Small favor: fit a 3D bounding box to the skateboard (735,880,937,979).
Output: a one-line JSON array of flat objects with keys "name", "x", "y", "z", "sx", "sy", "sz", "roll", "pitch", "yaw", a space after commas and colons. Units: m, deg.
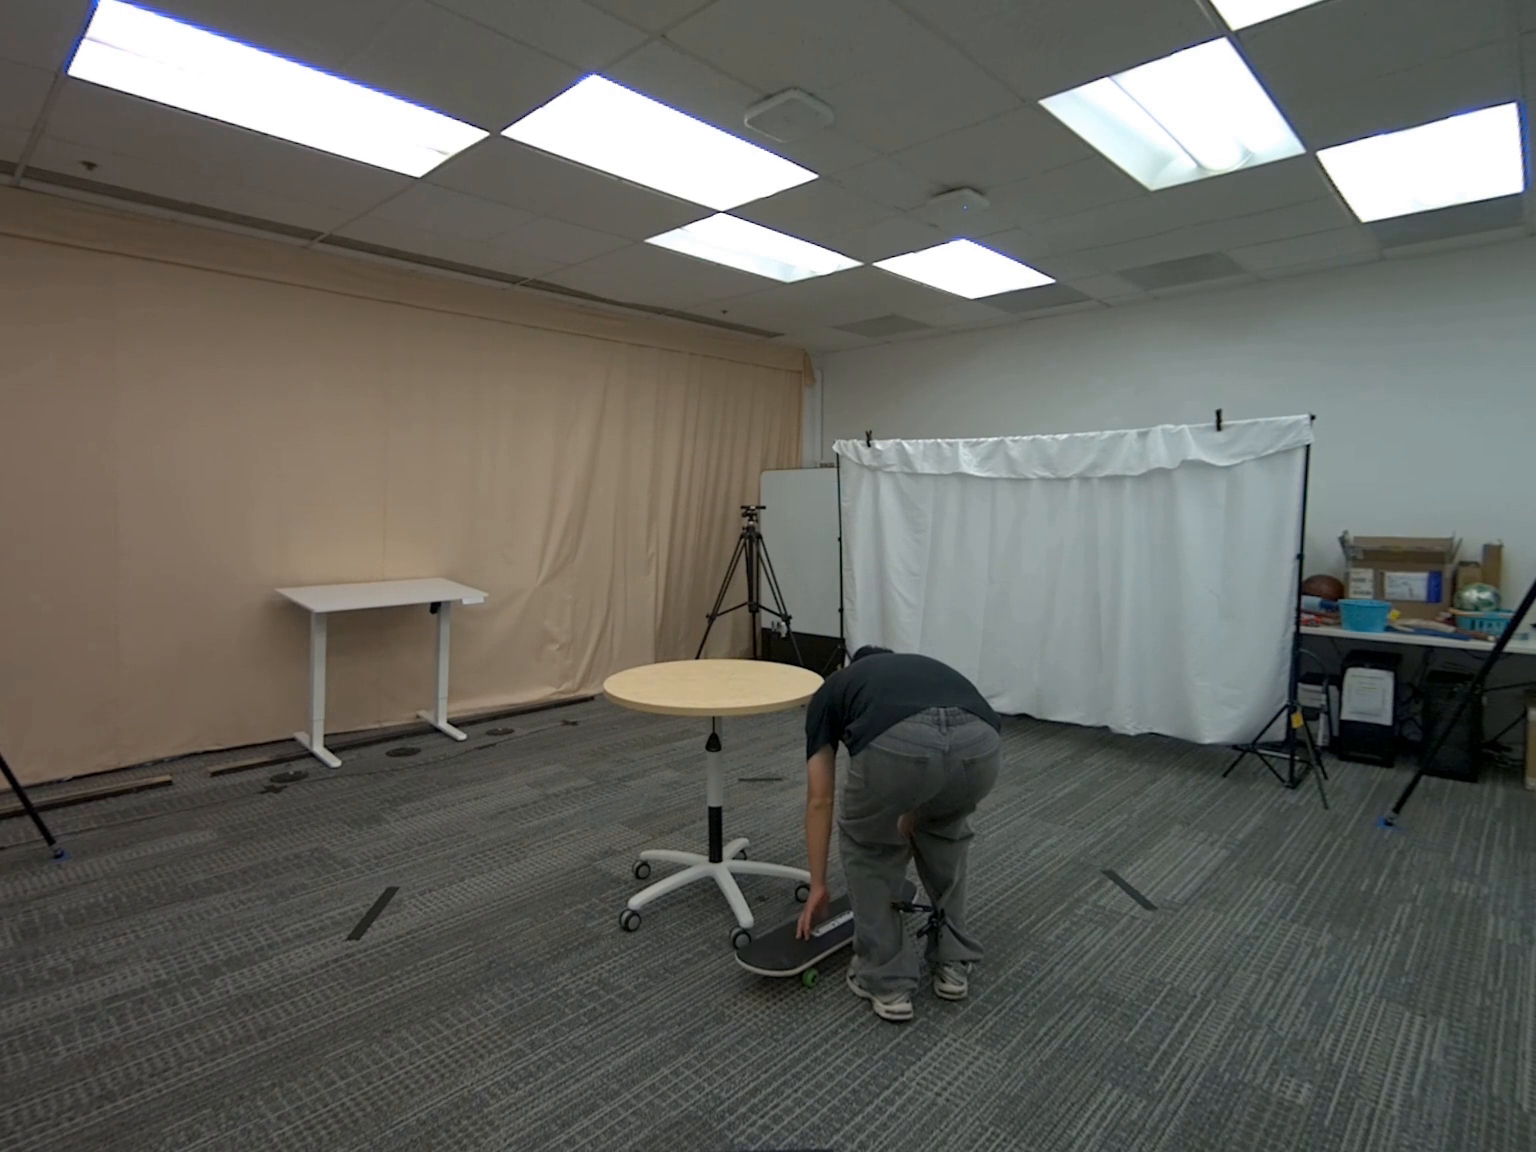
[{"name": "skateboard", "x": 0.210, "y": 1.122, "z": 2.624, "sx": 0.761, "sy": 0.110, "sz": 0.200, "roll": -5, "pitch": 6, "yaw": -44}]
